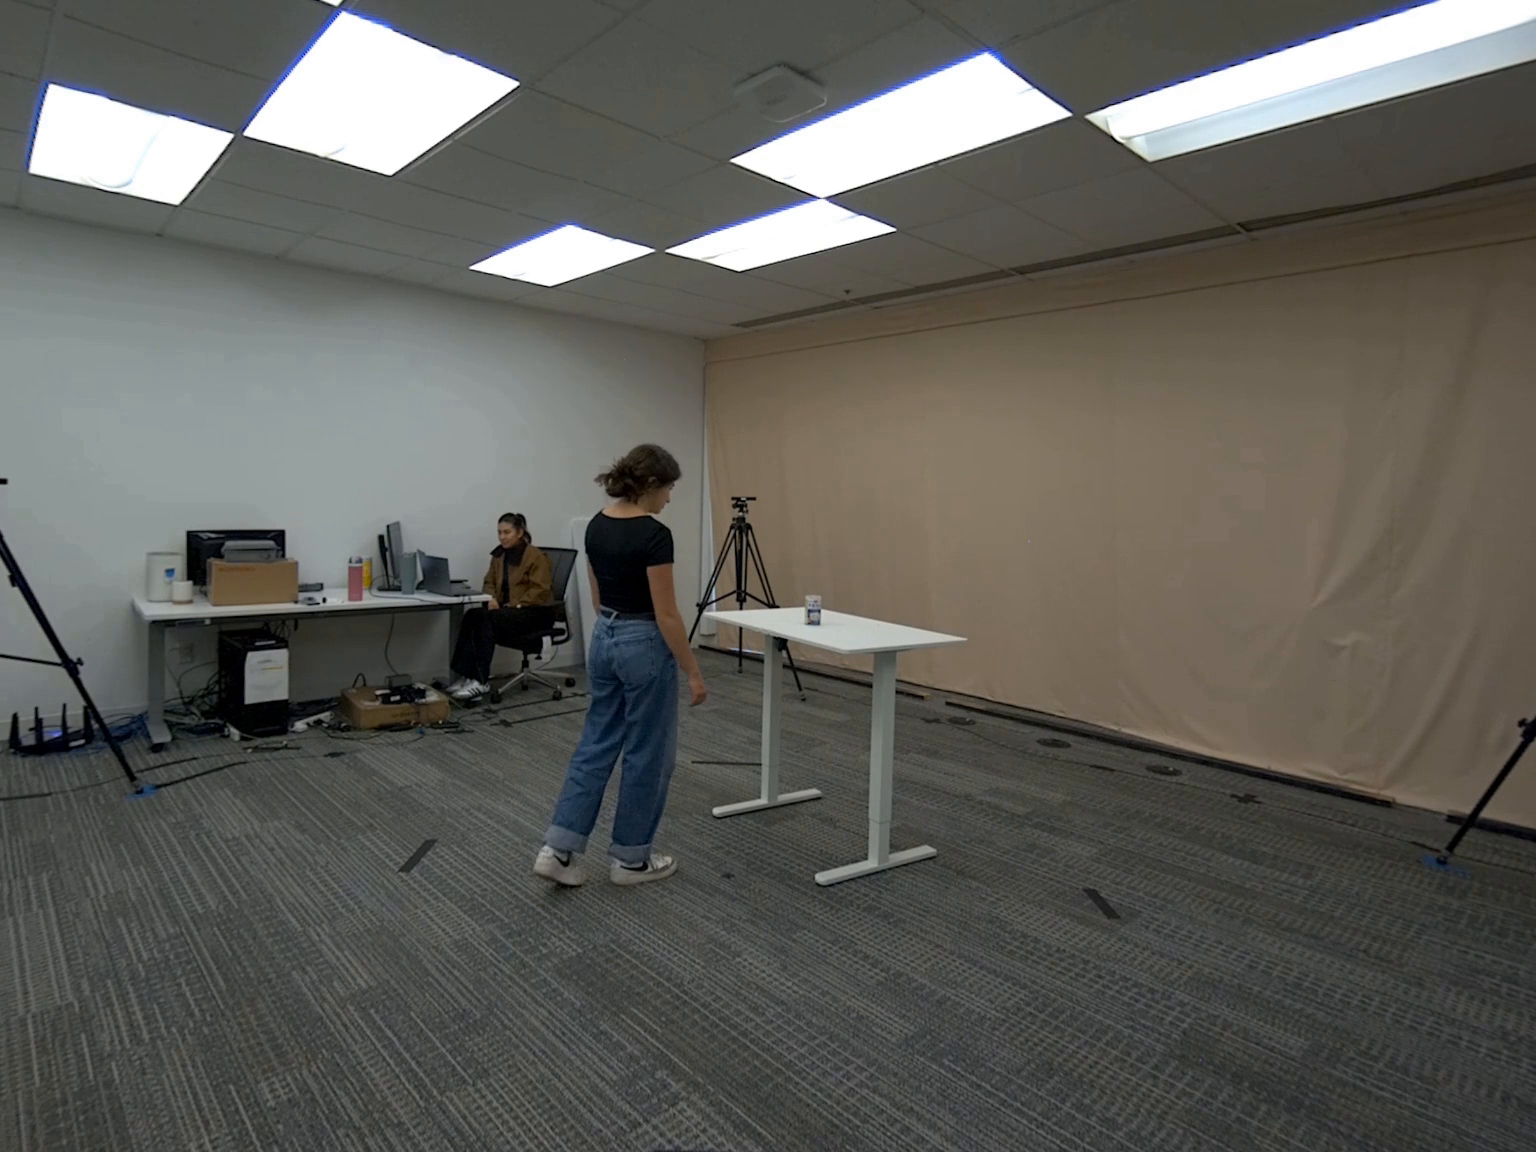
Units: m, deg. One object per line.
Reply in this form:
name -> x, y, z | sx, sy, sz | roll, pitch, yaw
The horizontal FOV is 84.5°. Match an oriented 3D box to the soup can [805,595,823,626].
soup can -> 0.182, 0.144, 3.473 | 0.067, 0.121, 0.067 | 2, 5, -2
